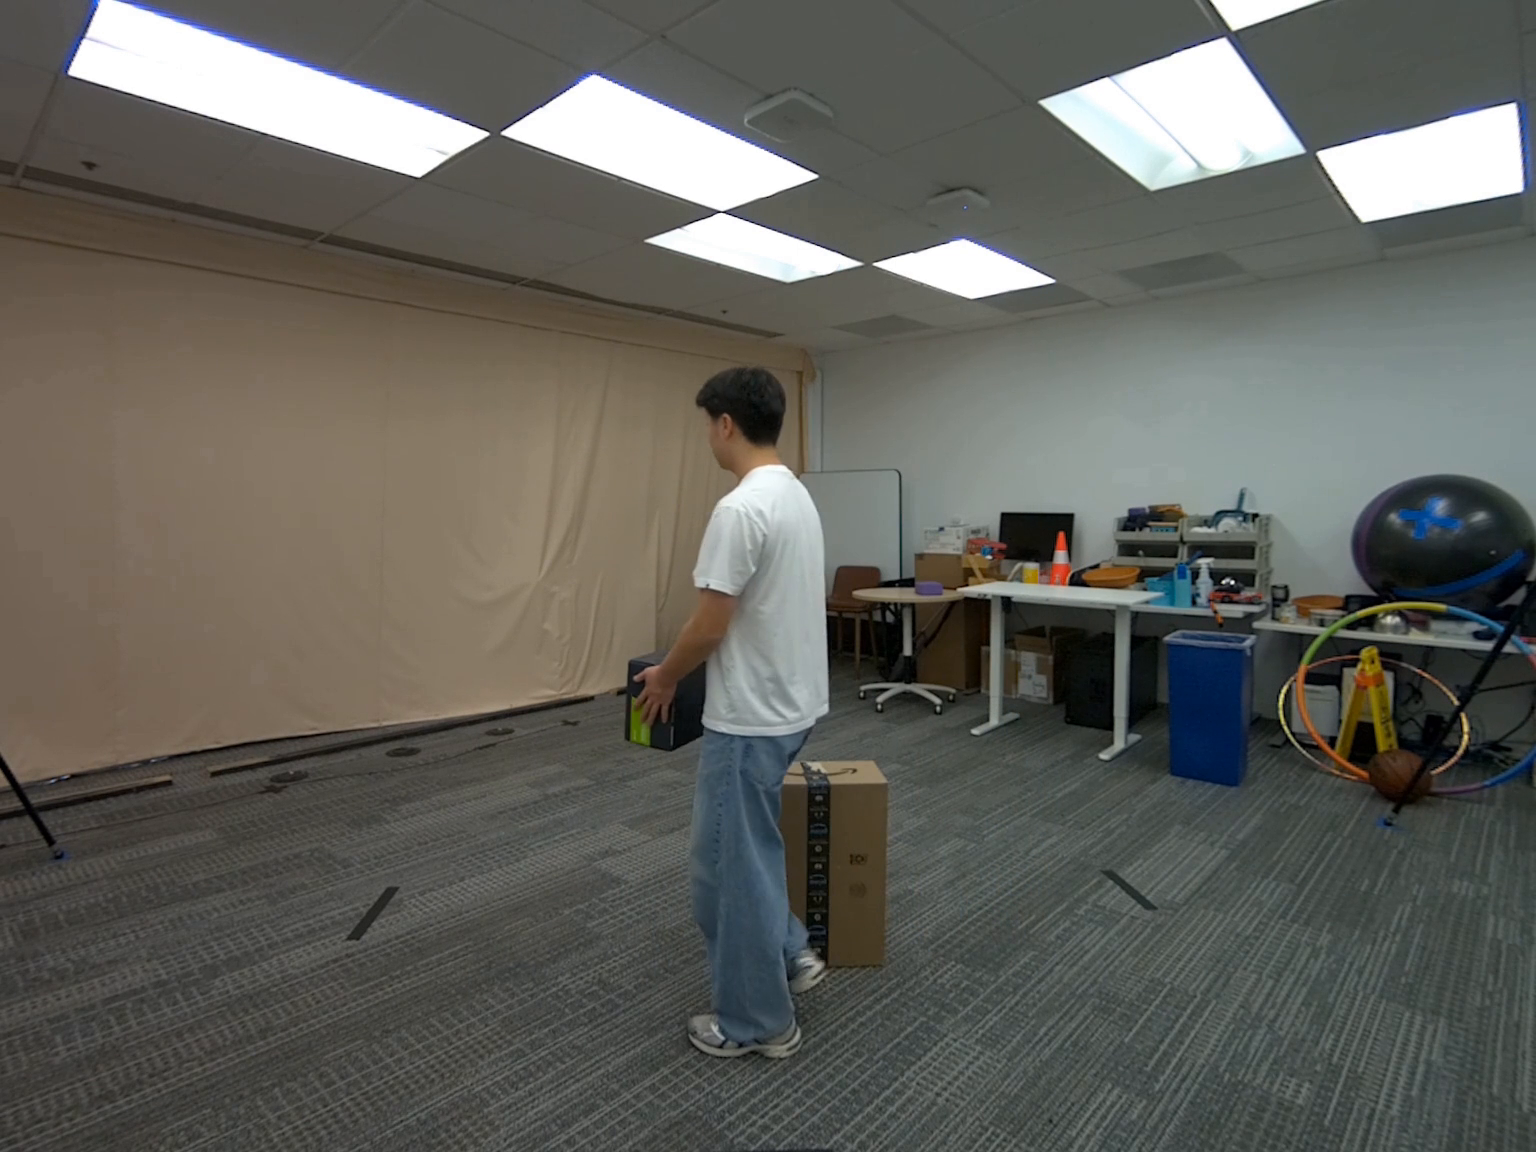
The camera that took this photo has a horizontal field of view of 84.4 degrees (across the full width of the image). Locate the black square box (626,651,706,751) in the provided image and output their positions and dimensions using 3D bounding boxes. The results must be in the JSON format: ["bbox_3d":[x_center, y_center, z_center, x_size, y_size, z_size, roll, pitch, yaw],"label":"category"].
[{"bbox_3d":[-0.267,0.350,2.357,0.160,0.227,0.212,5,7,26],"label":"black square box"}]
